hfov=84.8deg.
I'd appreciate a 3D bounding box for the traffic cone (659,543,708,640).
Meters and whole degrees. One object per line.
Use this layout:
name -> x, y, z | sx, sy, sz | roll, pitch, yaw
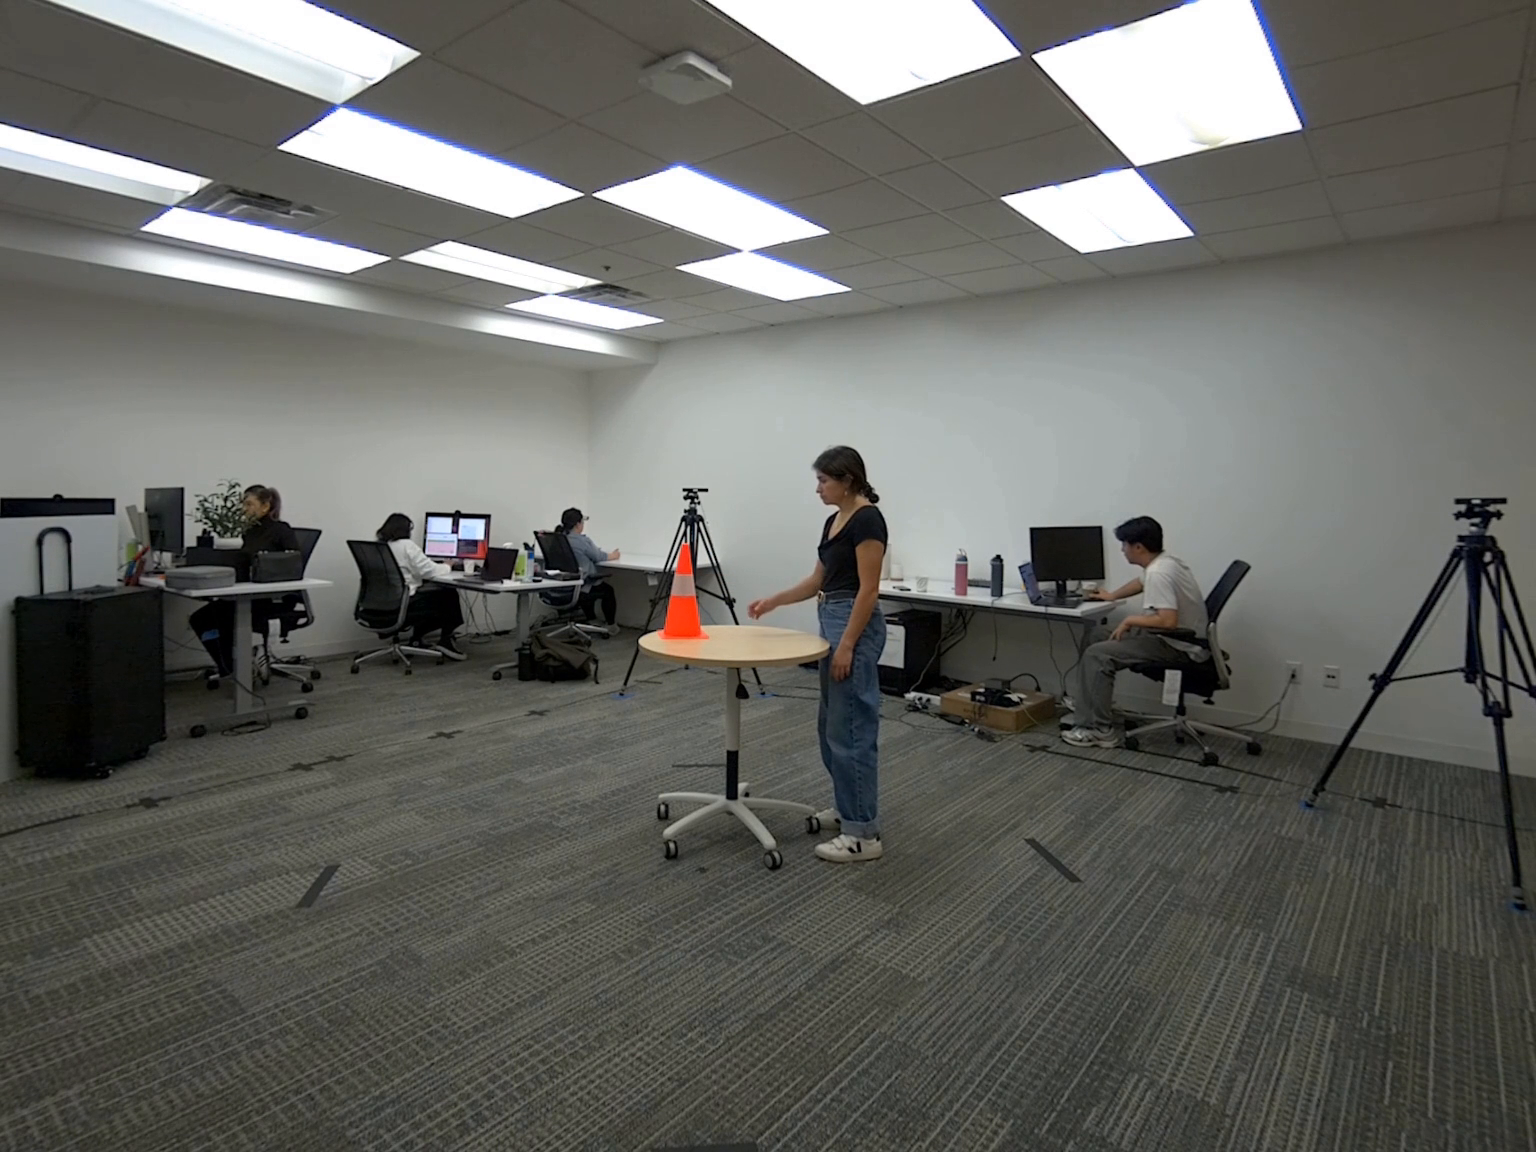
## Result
traffic cone -> -0.344, 0.051, 3.549 | 0.202, 0.383, 0.207 | 3, 3, -15
